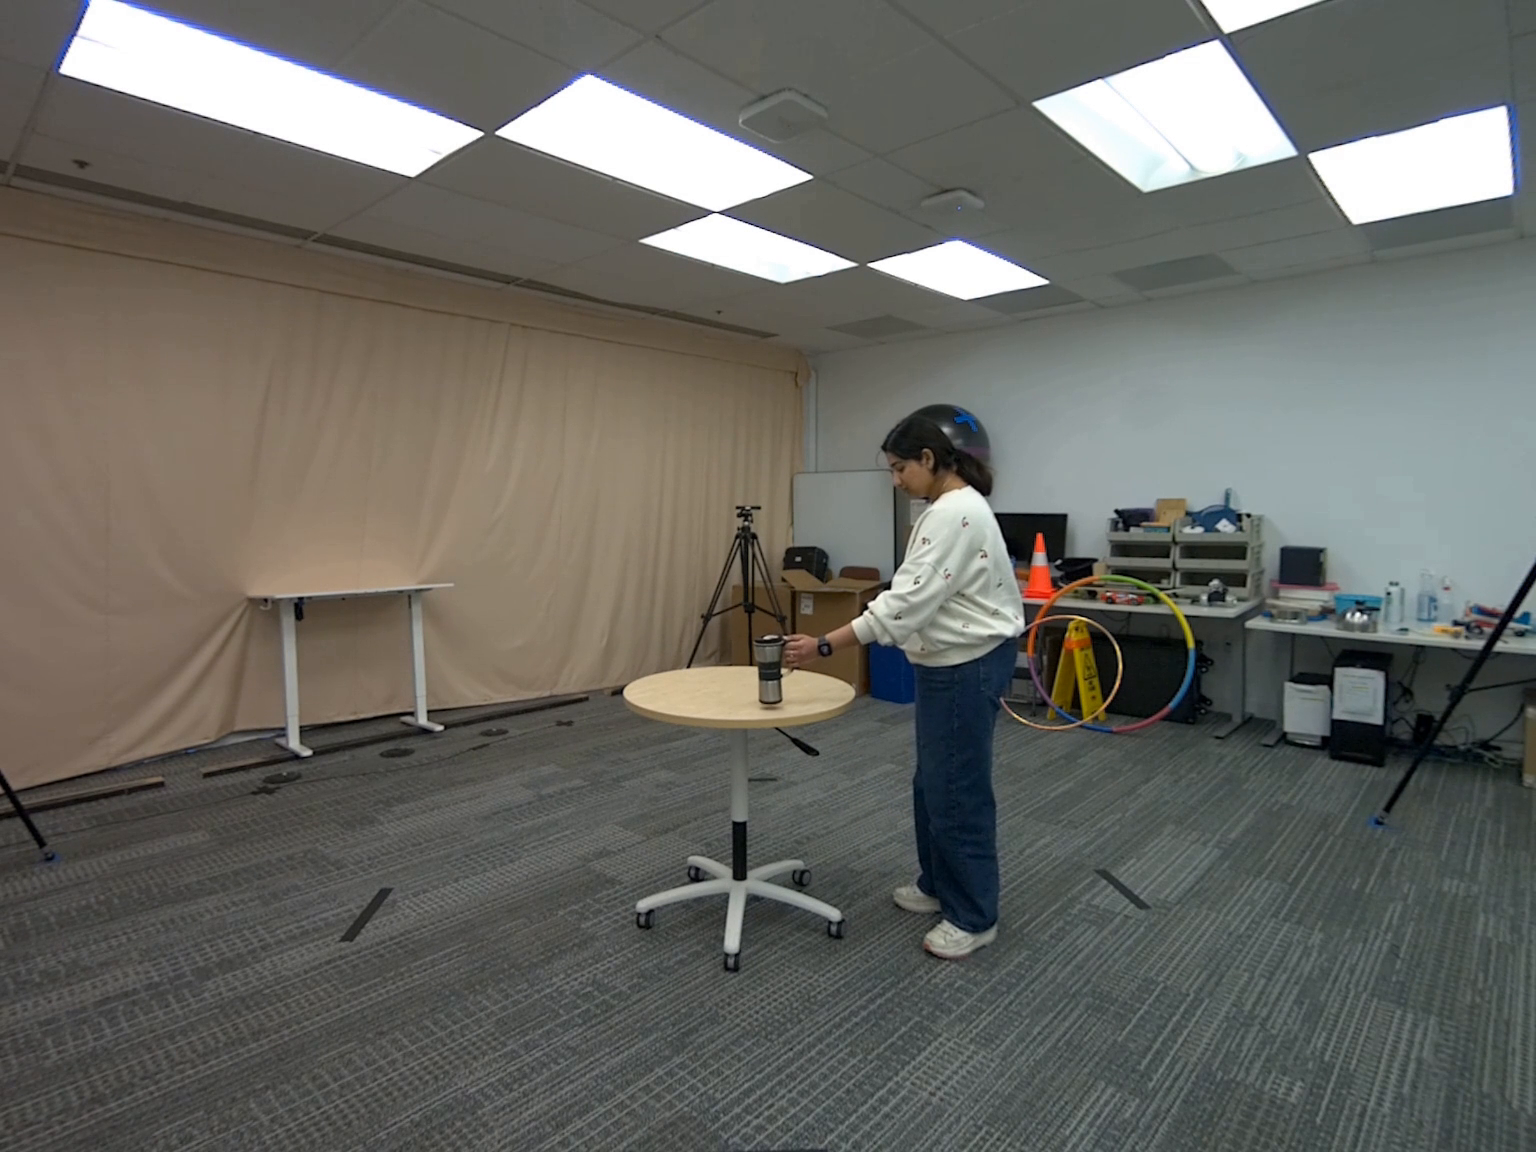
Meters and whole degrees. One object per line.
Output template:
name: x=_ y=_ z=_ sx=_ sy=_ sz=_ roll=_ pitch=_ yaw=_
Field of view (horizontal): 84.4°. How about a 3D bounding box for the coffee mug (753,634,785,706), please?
coffee mug: x=0.035 y=0.292 z=2.514 sx=0.126 sy=0.203 sz=0.085 roll=5 pitch=3 yaw=43
